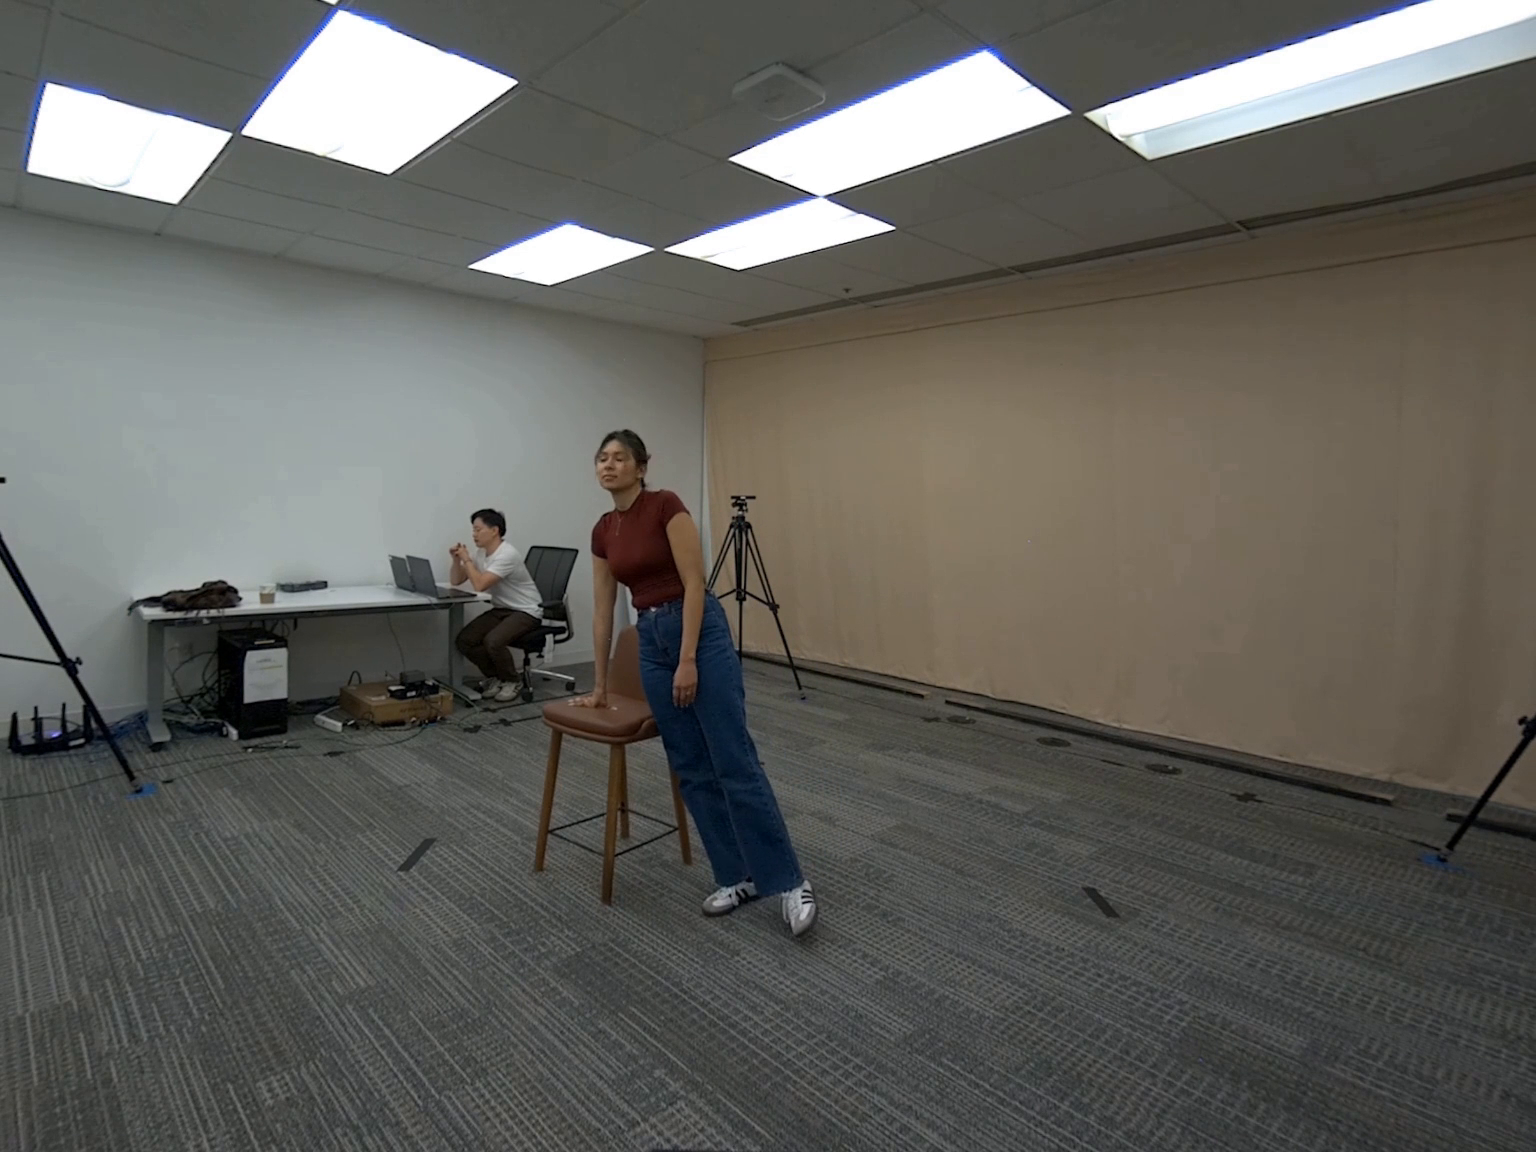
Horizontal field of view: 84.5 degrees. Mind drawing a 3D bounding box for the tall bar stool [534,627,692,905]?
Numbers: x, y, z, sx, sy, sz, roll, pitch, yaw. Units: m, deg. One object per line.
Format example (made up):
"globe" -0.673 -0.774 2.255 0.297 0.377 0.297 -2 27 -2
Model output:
"tall bar stool" -0.573 0.660 3.134 0.468 0.888 0.457 4 3 39
